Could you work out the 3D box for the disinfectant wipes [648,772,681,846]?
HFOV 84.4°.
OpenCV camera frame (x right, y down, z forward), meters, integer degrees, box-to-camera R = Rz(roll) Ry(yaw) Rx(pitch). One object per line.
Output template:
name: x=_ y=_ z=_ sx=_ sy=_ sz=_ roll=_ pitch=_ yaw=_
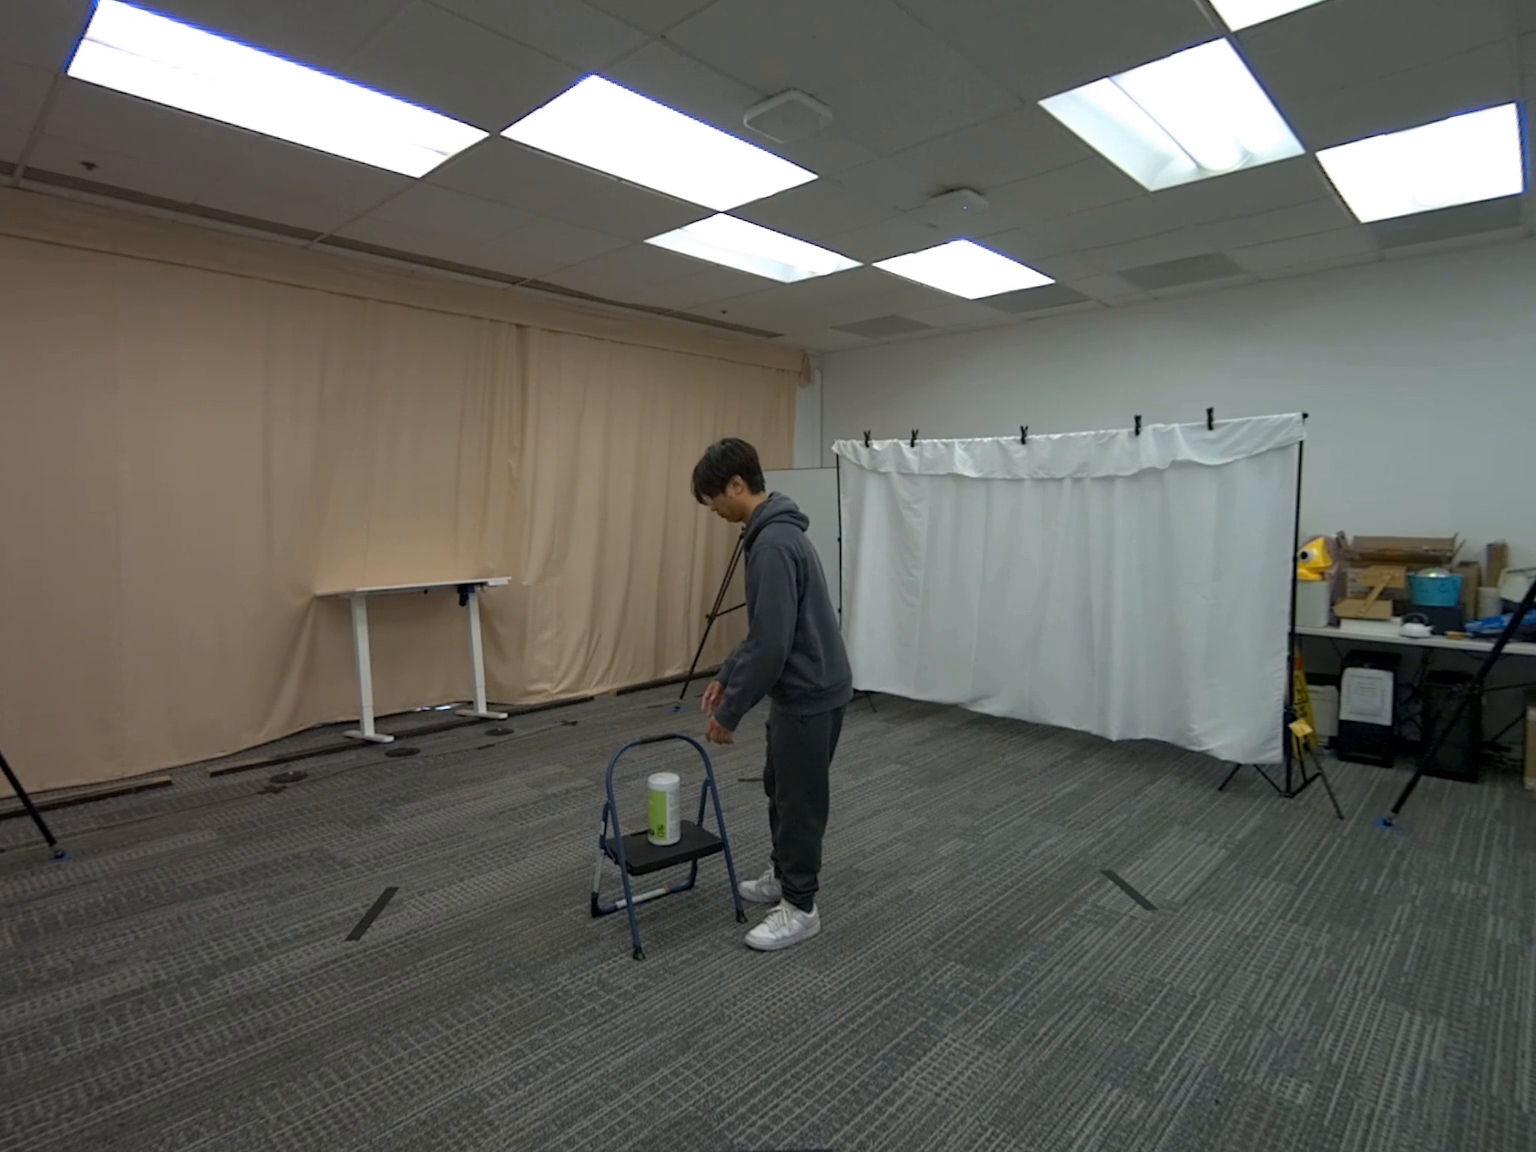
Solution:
disinfectant wipes: x=-0.352 y=0.793 z=2.852 sx=0.118 sy=0.217 sz=0.118 roll=-1 pitch=3 yaw=-2
